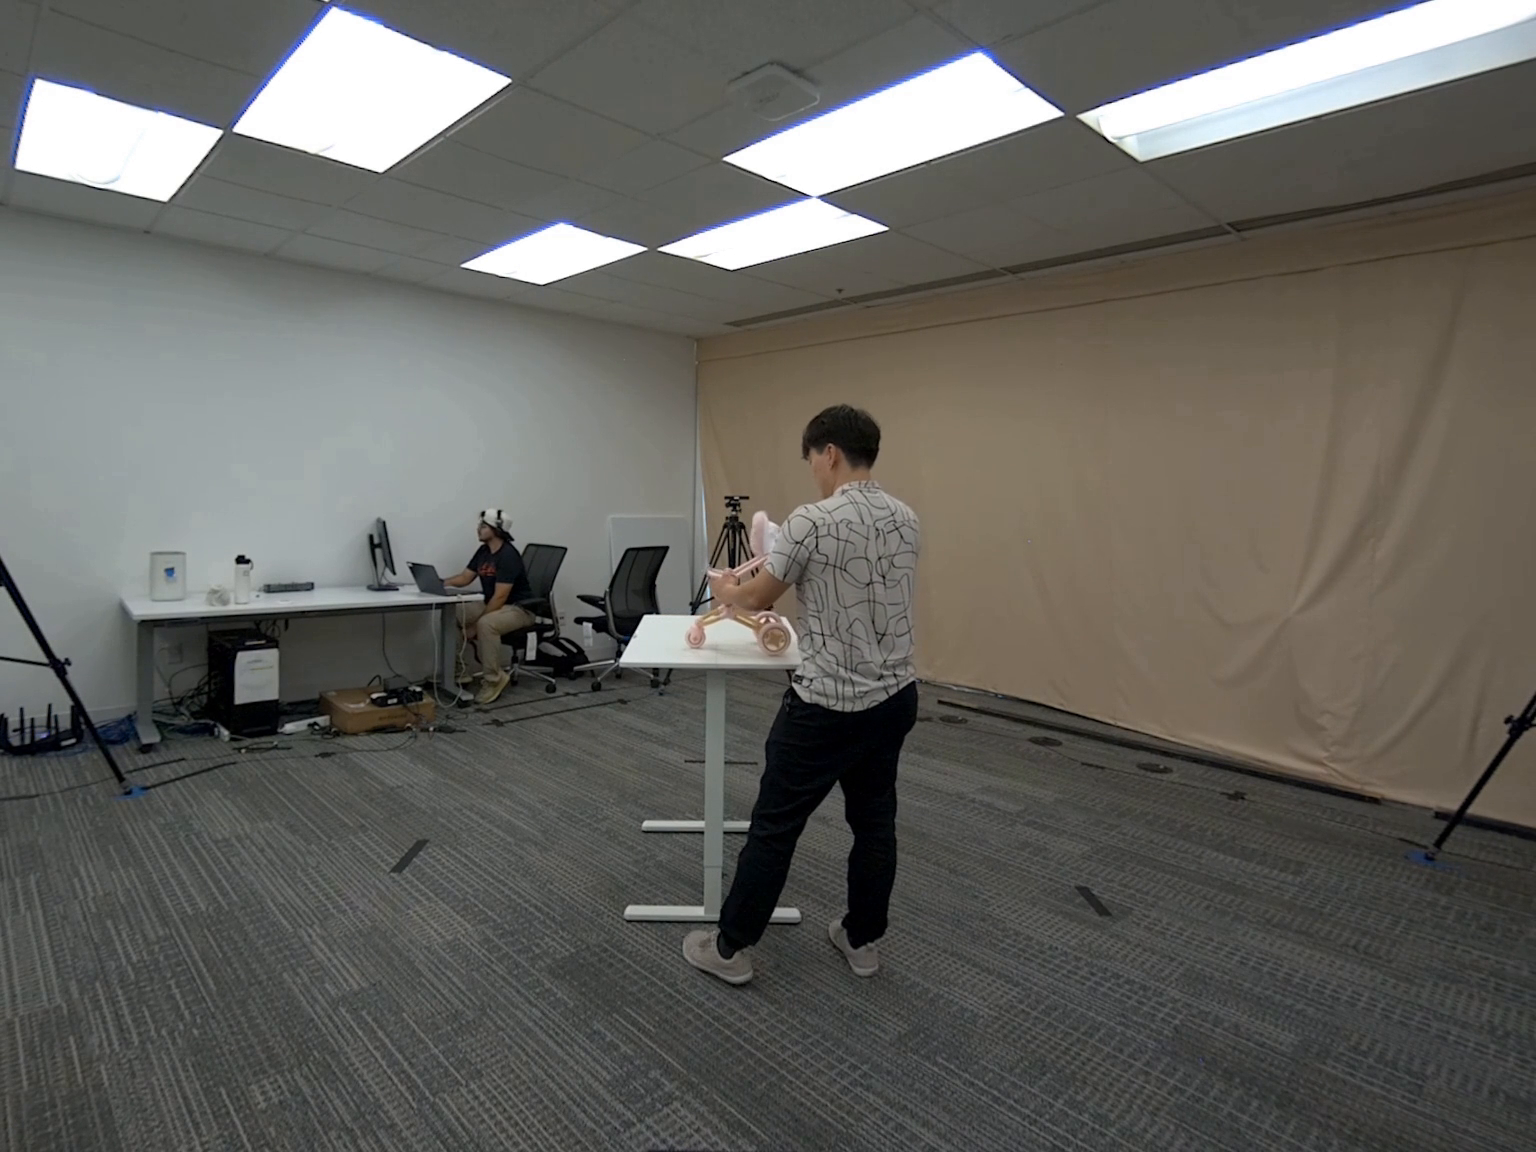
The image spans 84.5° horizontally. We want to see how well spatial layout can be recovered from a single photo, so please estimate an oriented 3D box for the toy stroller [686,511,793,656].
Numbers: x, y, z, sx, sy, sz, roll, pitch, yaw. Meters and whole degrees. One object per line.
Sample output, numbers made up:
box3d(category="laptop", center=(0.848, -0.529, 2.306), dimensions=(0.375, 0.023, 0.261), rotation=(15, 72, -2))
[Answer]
box3d(category="toy stroller", center=(-0.066, 0.024, 2.840), dimensions=(0.342, 0.534, 0.281), rotation=(17, 2, 0))
